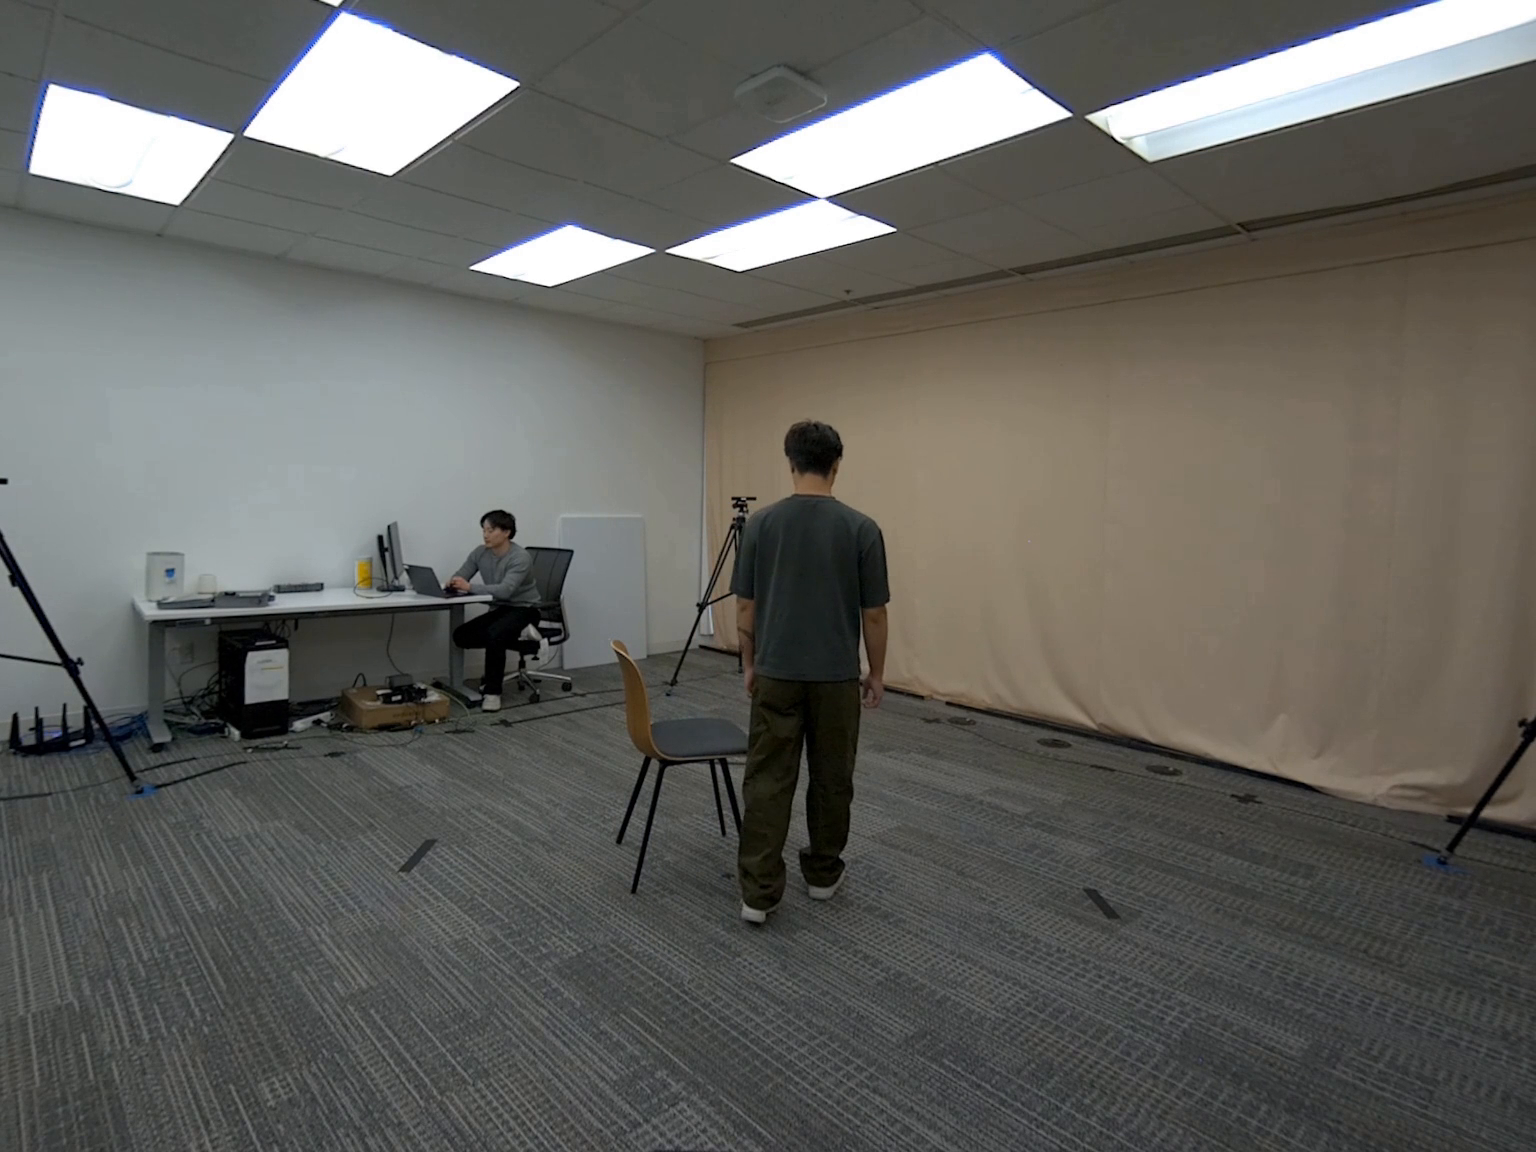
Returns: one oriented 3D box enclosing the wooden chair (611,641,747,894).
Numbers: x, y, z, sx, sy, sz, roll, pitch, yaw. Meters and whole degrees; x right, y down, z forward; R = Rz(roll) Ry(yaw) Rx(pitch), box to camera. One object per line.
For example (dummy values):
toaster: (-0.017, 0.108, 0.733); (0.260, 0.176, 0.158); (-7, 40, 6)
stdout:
wooden chair: (-0.314, 0.665, 3.190); (0.517, 0.874, 0.485); (-4, 4, -16)
